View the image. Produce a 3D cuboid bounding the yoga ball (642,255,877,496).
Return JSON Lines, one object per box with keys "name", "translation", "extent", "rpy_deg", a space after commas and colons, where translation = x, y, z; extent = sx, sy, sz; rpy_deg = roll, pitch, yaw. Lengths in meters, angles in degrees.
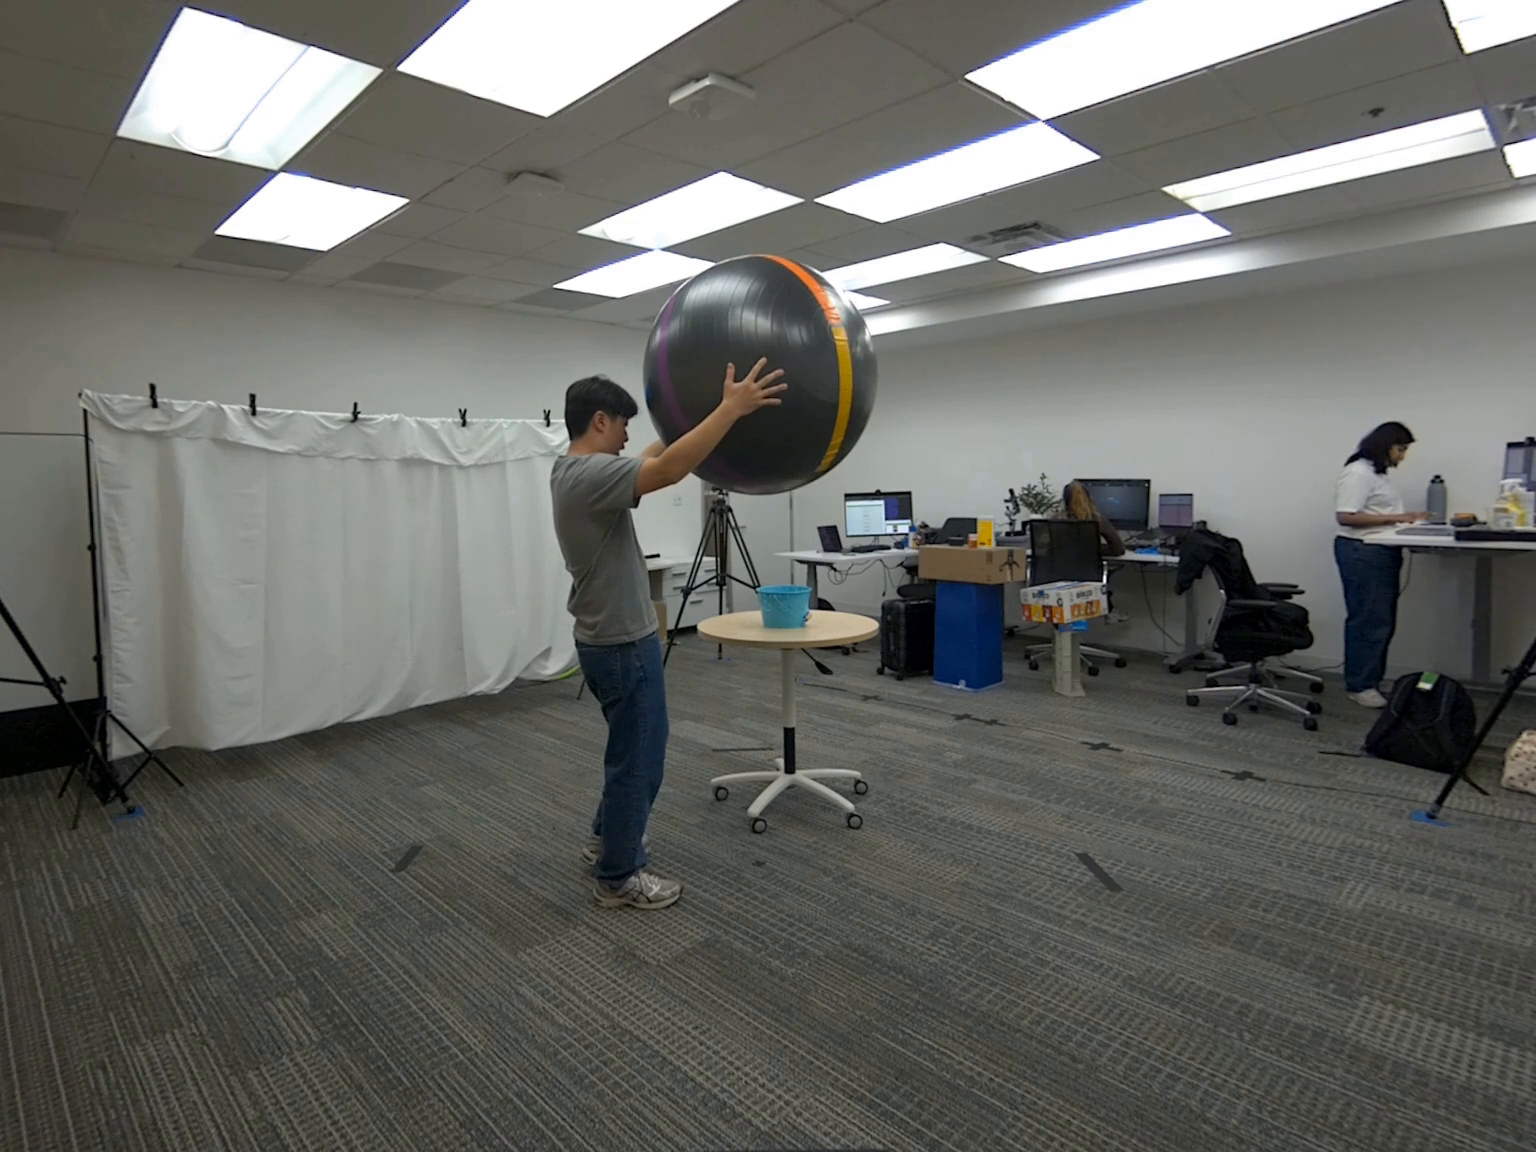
{"name": "yoga ball", "translation": [-0.029, -0.637, 2.771], "extent": [0.757, 0.755, 0.762], "rpy_deg": [-1, 5, -2]}
